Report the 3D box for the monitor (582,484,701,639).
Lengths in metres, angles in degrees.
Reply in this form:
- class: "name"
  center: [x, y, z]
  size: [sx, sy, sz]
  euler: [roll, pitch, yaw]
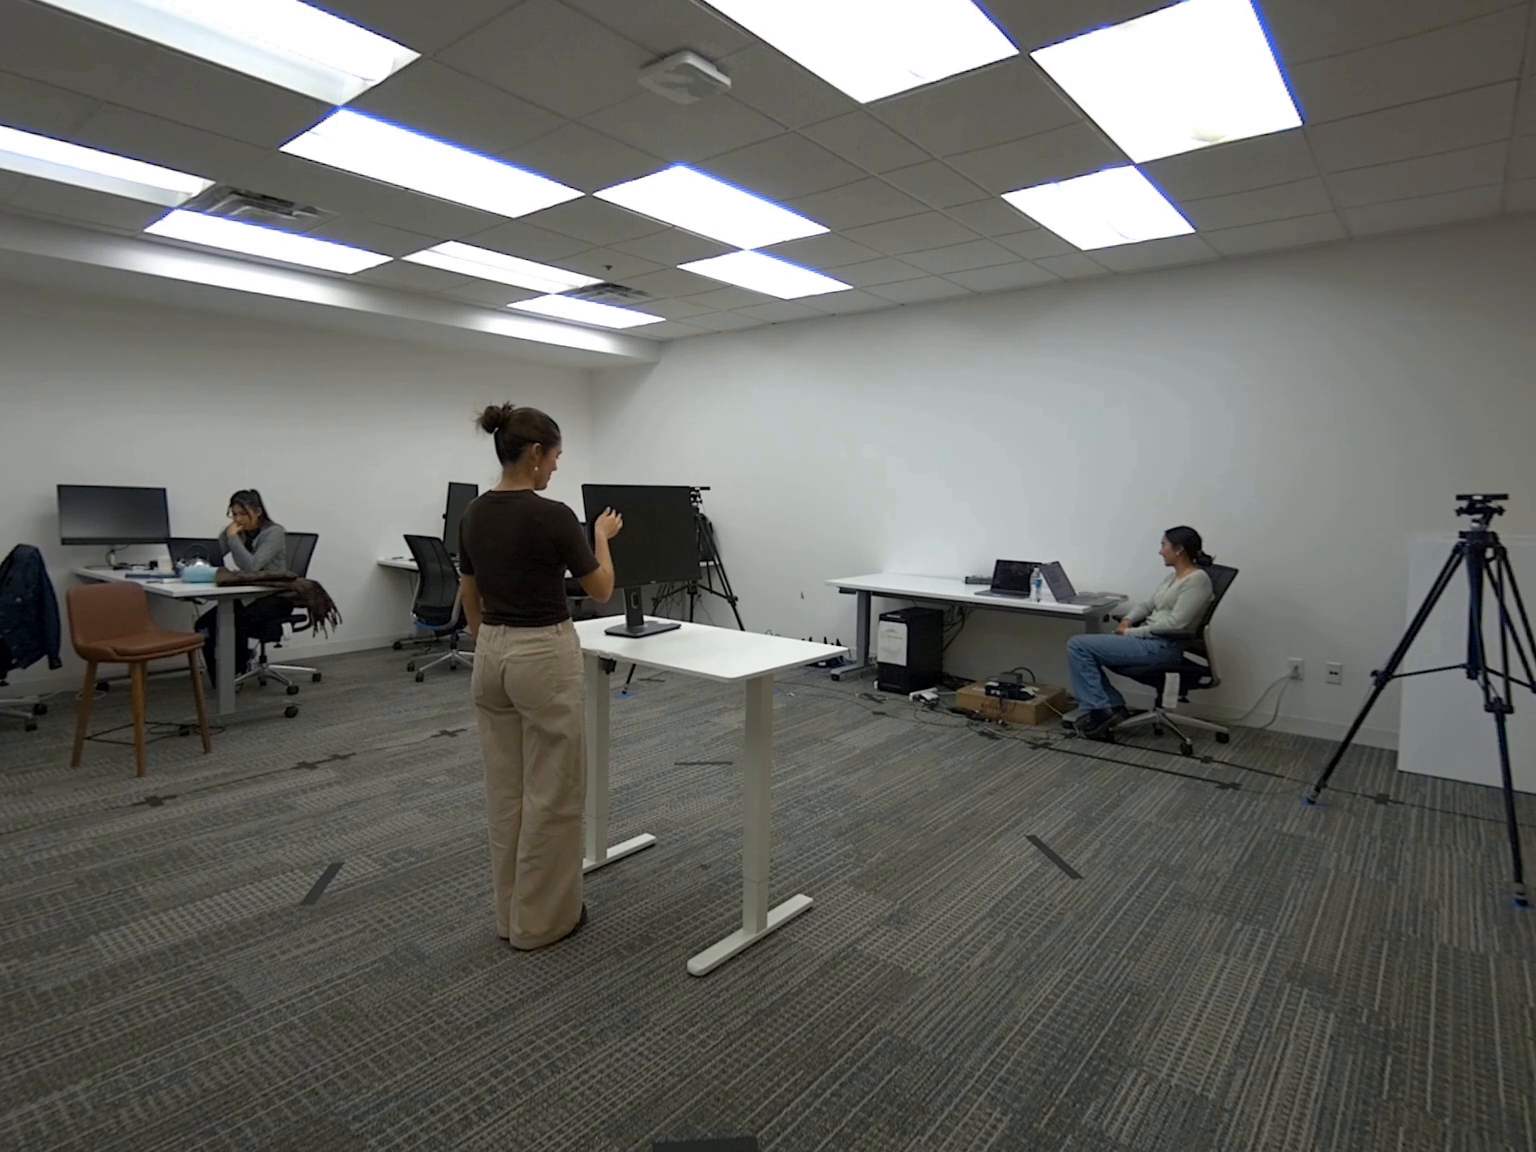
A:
- class: "monitor"
  center: [-0.460, -0.060, 2.981]
  size: [0.193, 0.521, 0.524]
  euler: [4, 5, 36]
